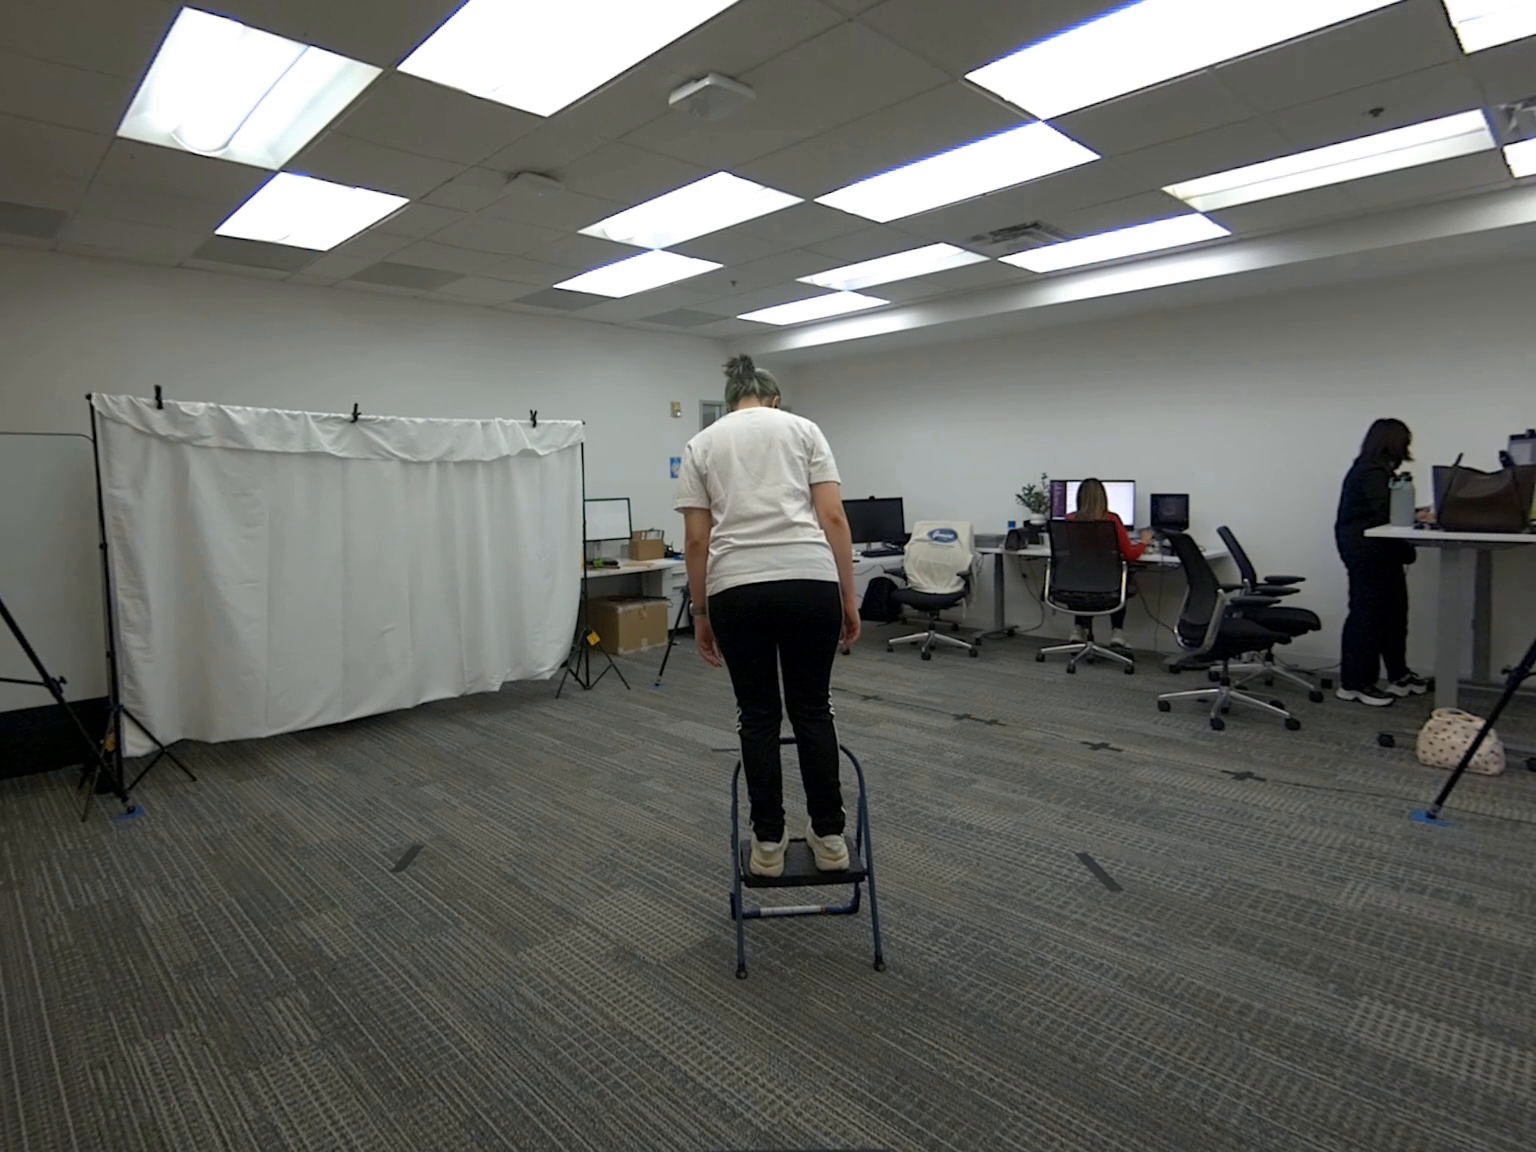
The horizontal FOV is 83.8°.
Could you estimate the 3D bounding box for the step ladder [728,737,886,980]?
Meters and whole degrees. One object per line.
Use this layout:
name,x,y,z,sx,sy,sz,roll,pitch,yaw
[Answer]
step ladder,0.105,0.809,2.566,0.429,0.603,0.352,-1,5,-5
